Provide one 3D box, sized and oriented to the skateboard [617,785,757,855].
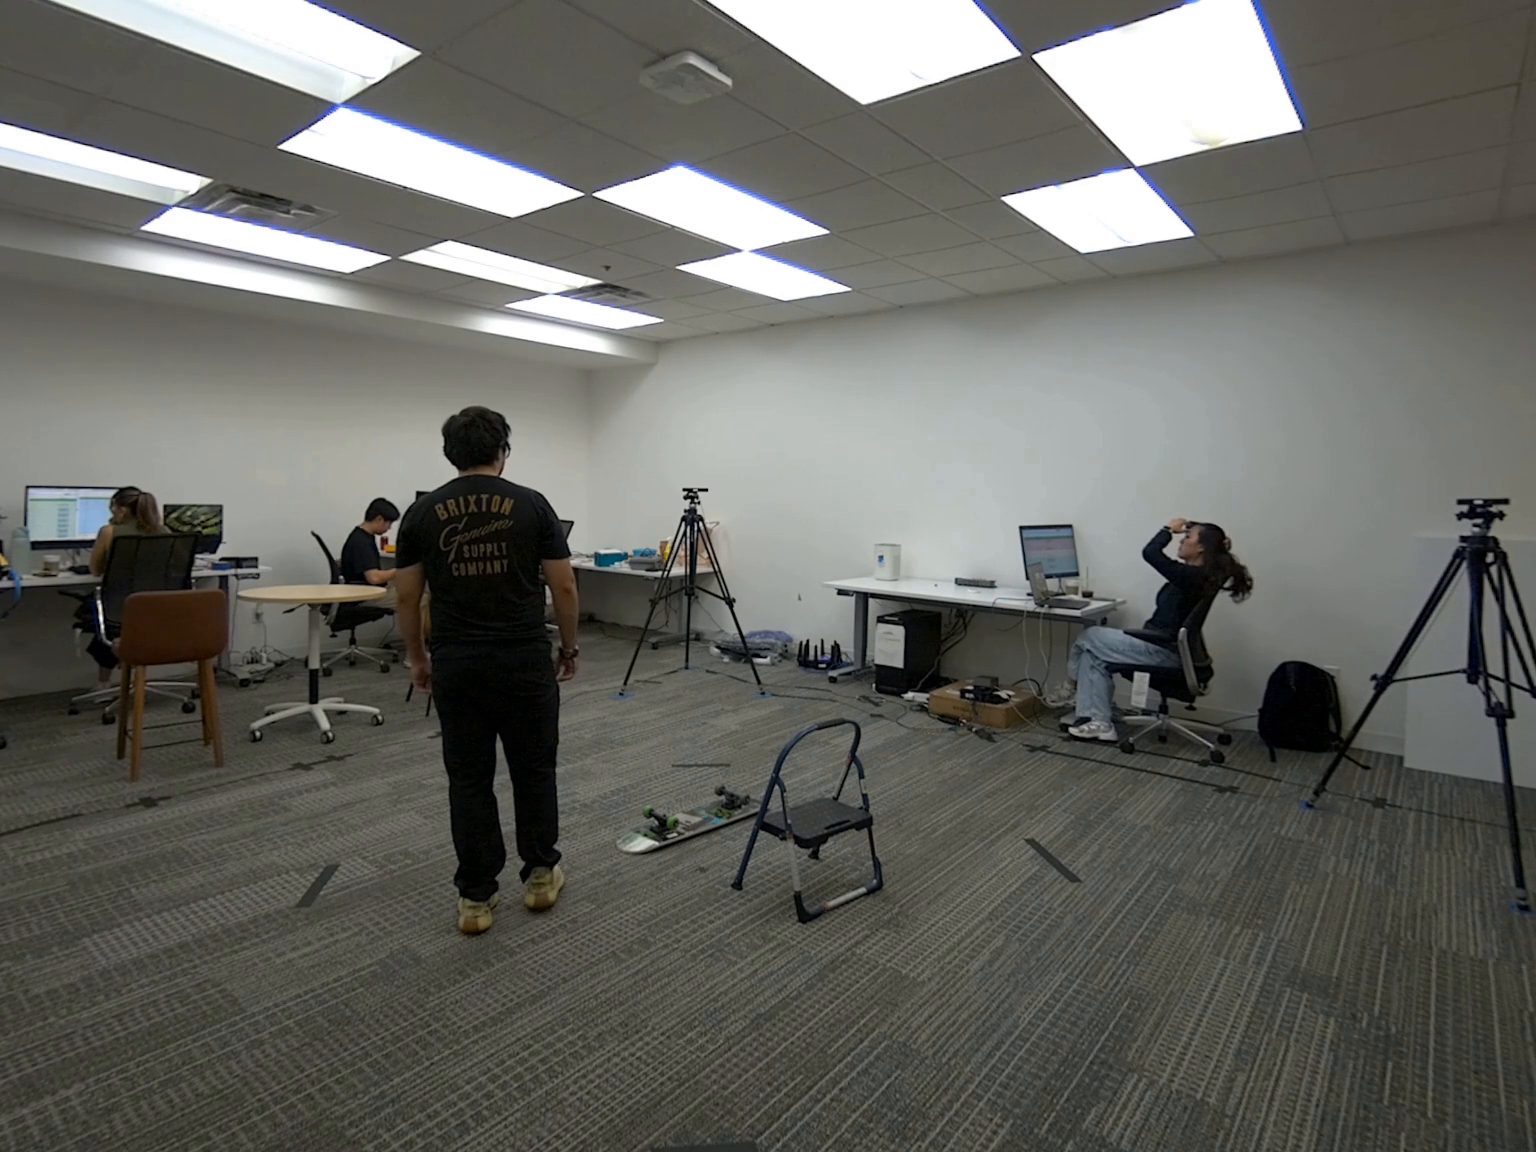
[{"bbox_3d":[-0.301,0.977,3.516,0.762,0.110,0.200,-5,7,-45],"label":"skateboard"}]
